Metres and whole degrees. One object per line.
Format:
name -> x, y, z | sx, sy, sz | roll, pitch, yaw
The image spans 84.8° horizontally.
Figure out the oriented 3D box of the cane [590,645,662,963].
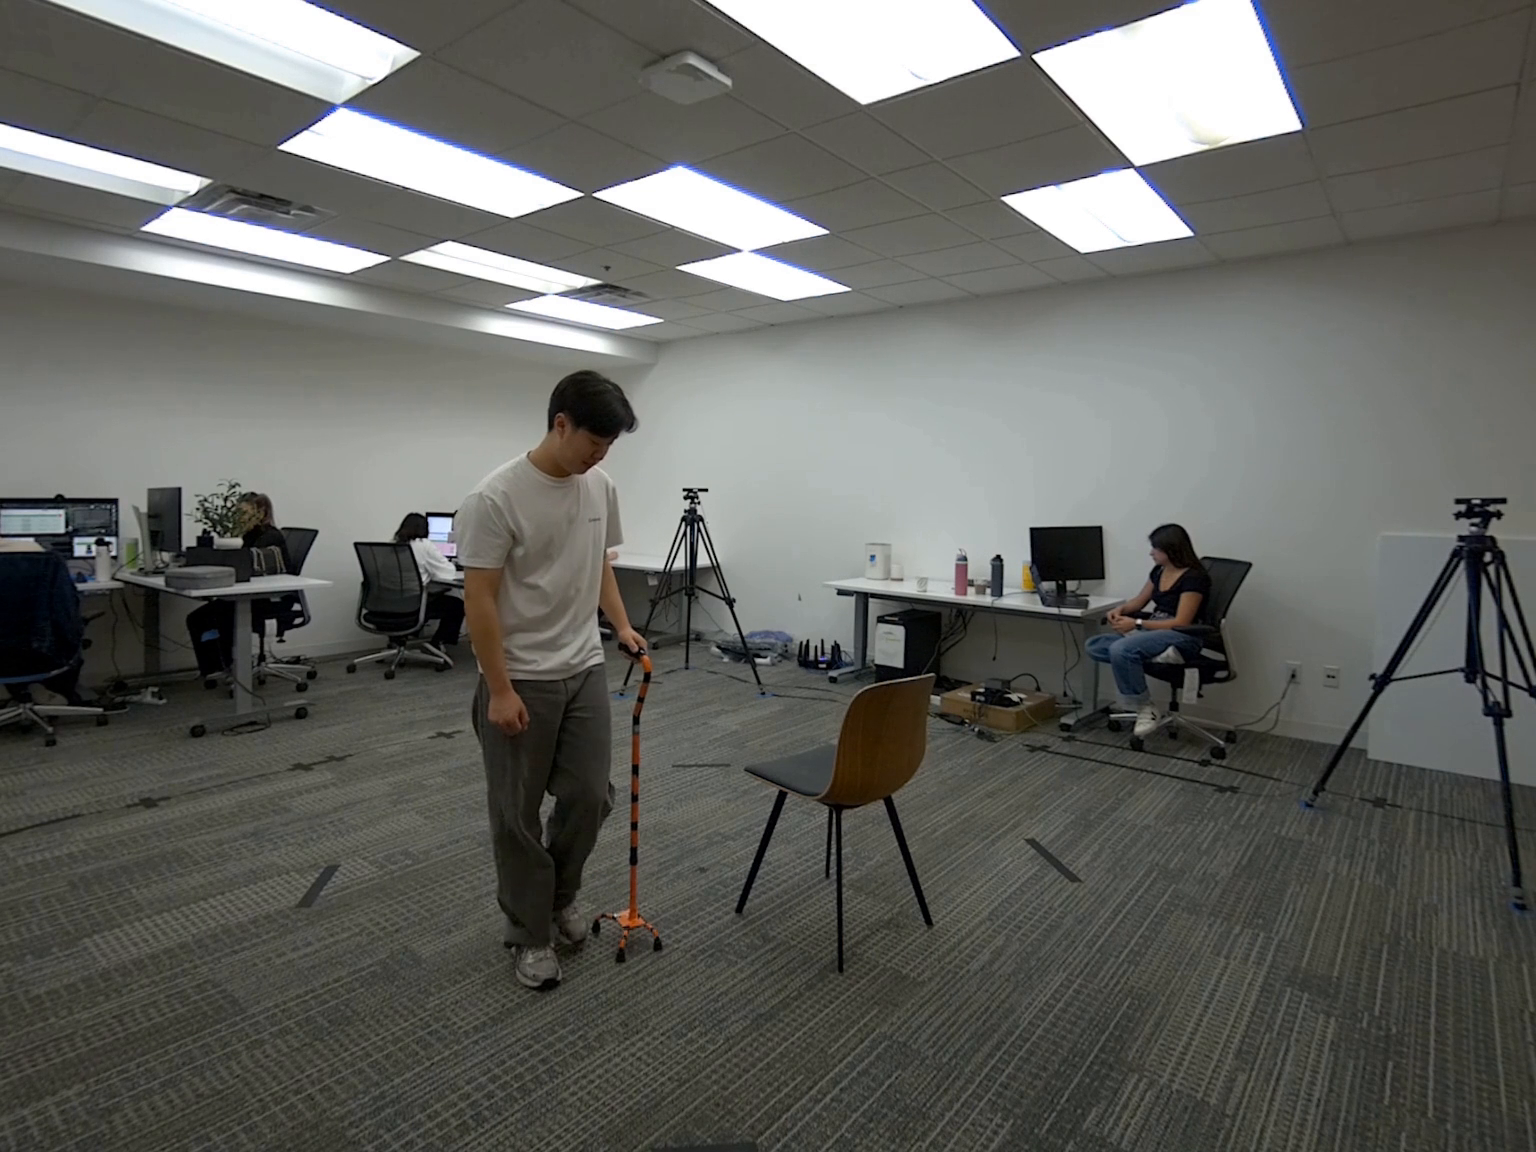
cane -> -0.415, 0.655, 2.564 | 0.147, 0.904, 0.213 | 0, 6, -34
